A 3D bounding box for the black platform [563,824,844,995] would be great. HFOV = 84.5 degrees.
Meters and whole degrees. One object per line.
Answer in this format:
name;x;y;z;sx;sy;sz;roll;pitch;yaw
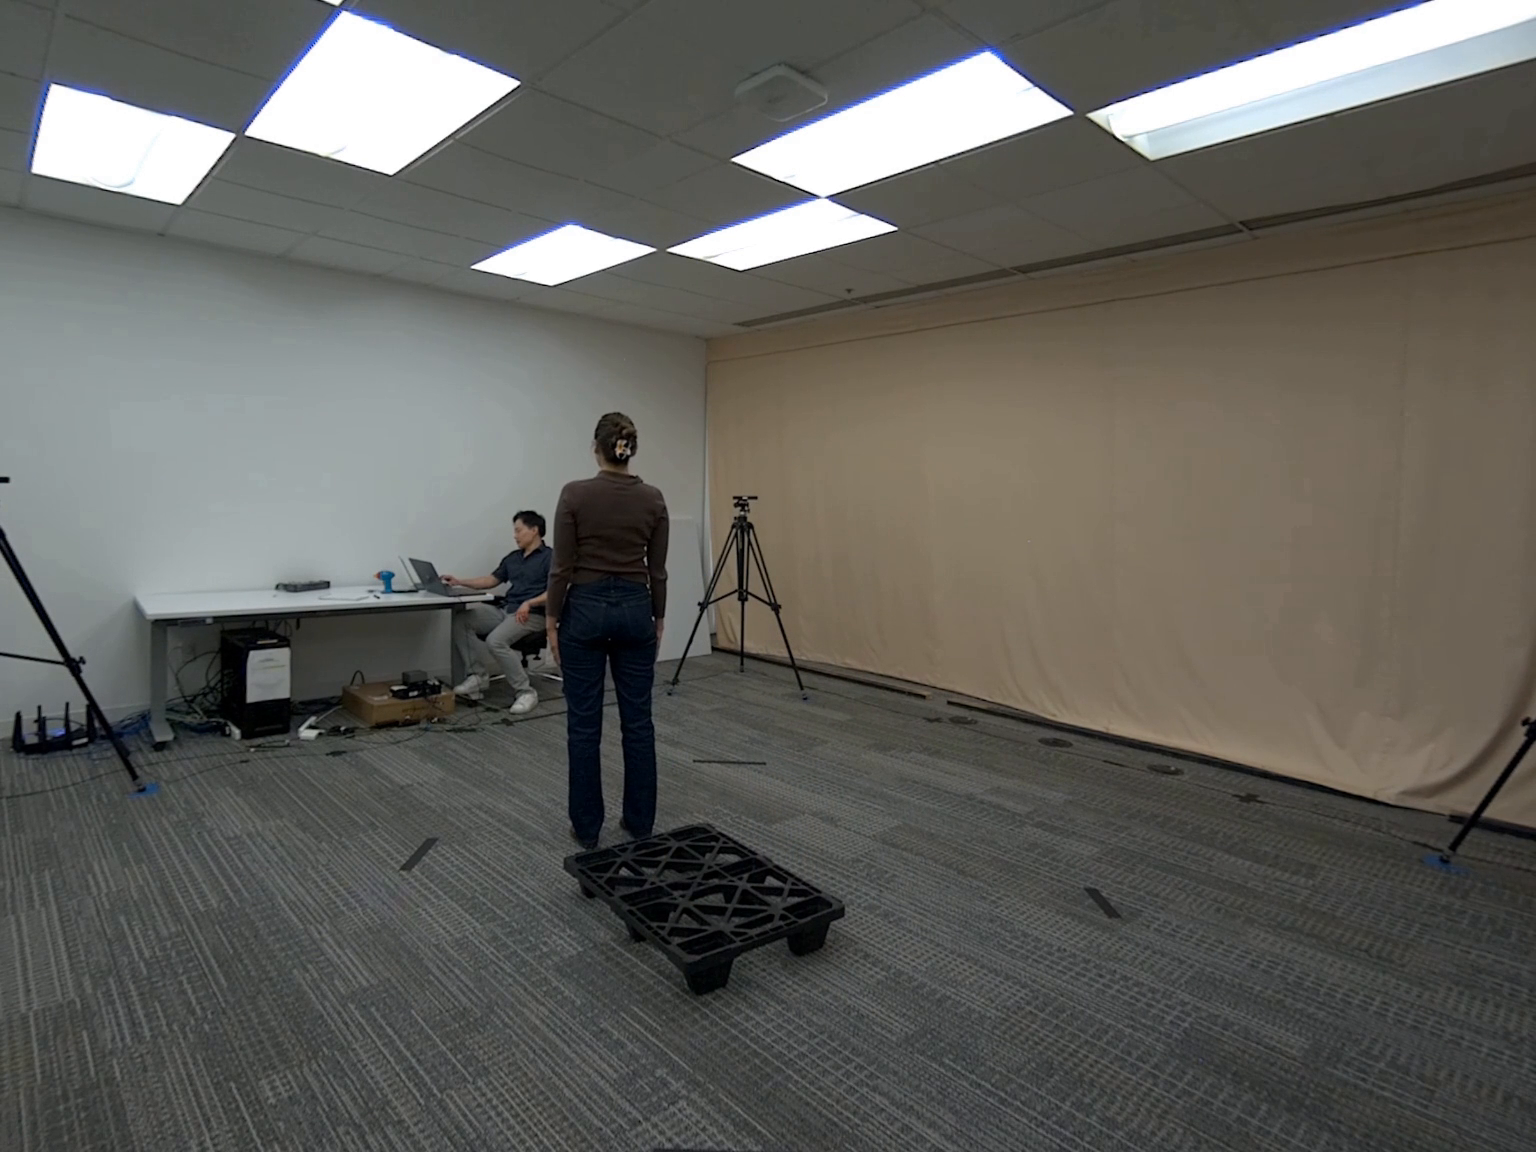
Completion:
black platform;-0.239;1.066;2.771;0.592;0.143;0.826;-2;6;-37
